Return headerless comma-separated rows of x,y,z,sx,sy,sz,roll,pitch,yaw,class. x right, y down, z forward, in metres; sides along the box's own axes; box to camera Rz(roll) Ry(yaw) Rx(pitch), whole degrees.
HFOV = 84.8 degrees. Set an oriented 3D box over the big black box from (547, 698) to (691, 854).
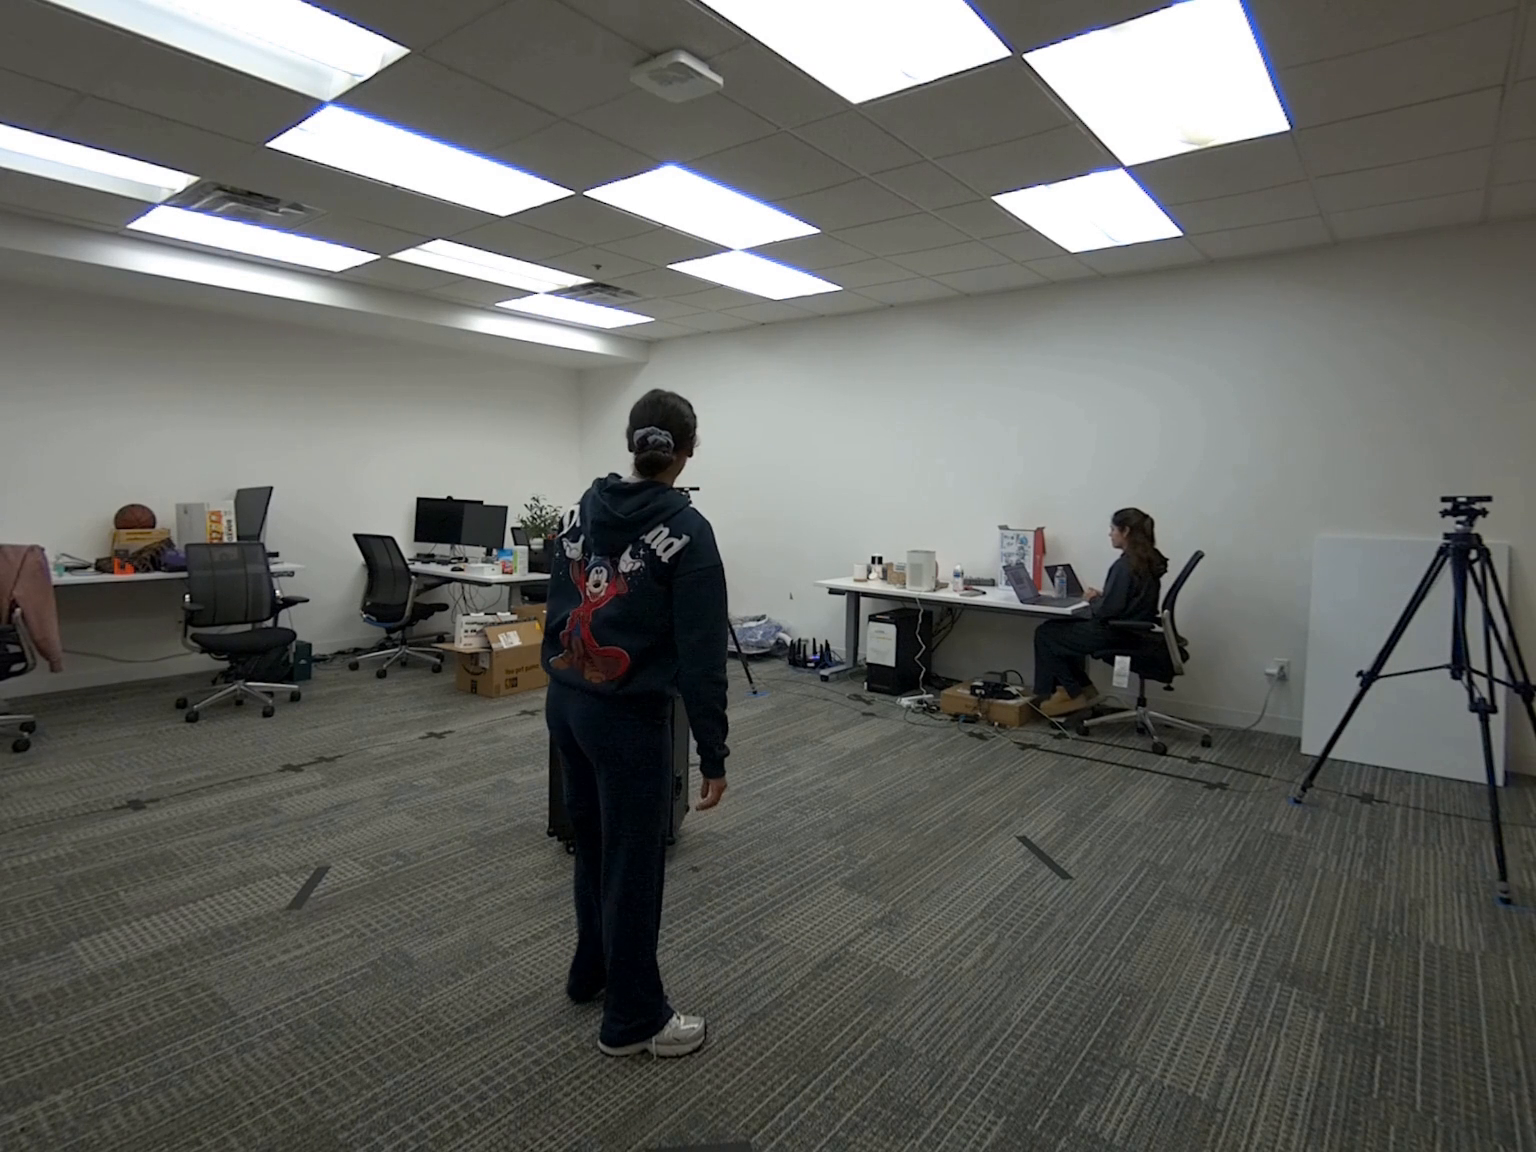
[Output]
-0.580,0.609,3.339,0.526,0.860,0.393,2,2,7,big black box
